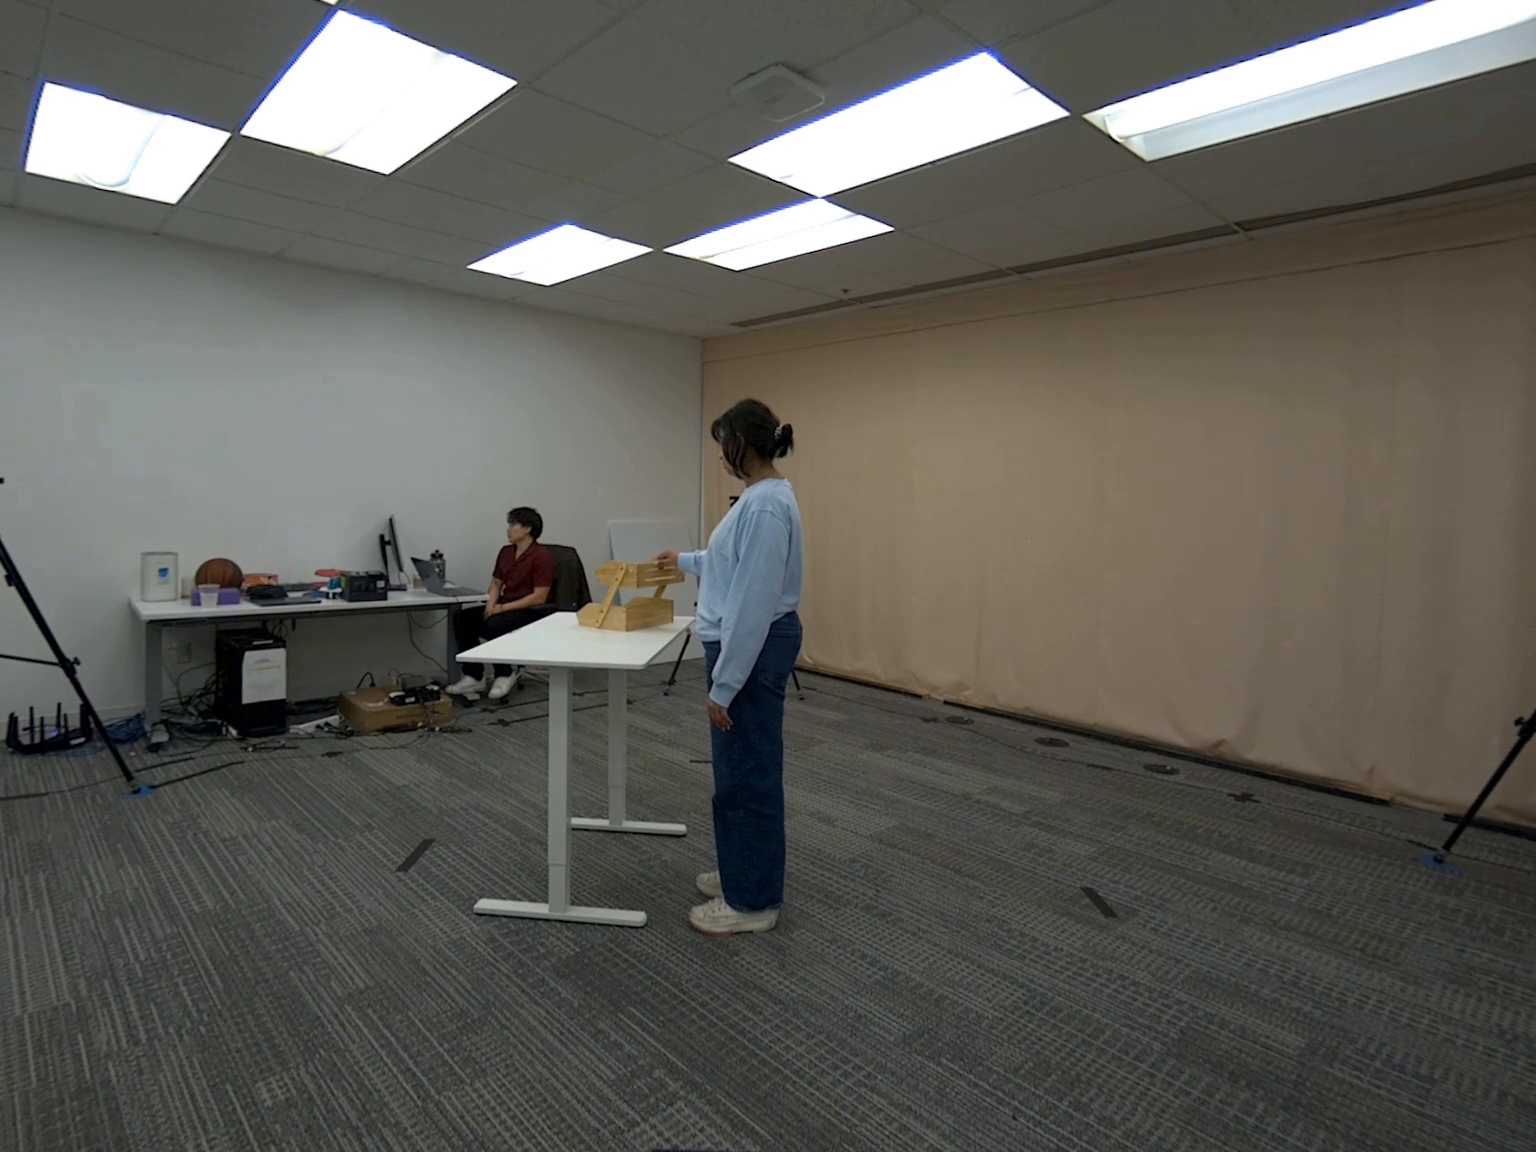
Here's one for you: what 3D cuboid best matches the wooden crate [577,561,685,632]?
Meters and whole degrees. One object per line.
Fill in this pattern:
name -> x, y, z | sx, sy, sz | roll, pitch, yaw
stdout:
wooden crate -> -0.547, 0.060, 3.308 | 0.309, 0.272, 0.318 | 5, 6, 30
